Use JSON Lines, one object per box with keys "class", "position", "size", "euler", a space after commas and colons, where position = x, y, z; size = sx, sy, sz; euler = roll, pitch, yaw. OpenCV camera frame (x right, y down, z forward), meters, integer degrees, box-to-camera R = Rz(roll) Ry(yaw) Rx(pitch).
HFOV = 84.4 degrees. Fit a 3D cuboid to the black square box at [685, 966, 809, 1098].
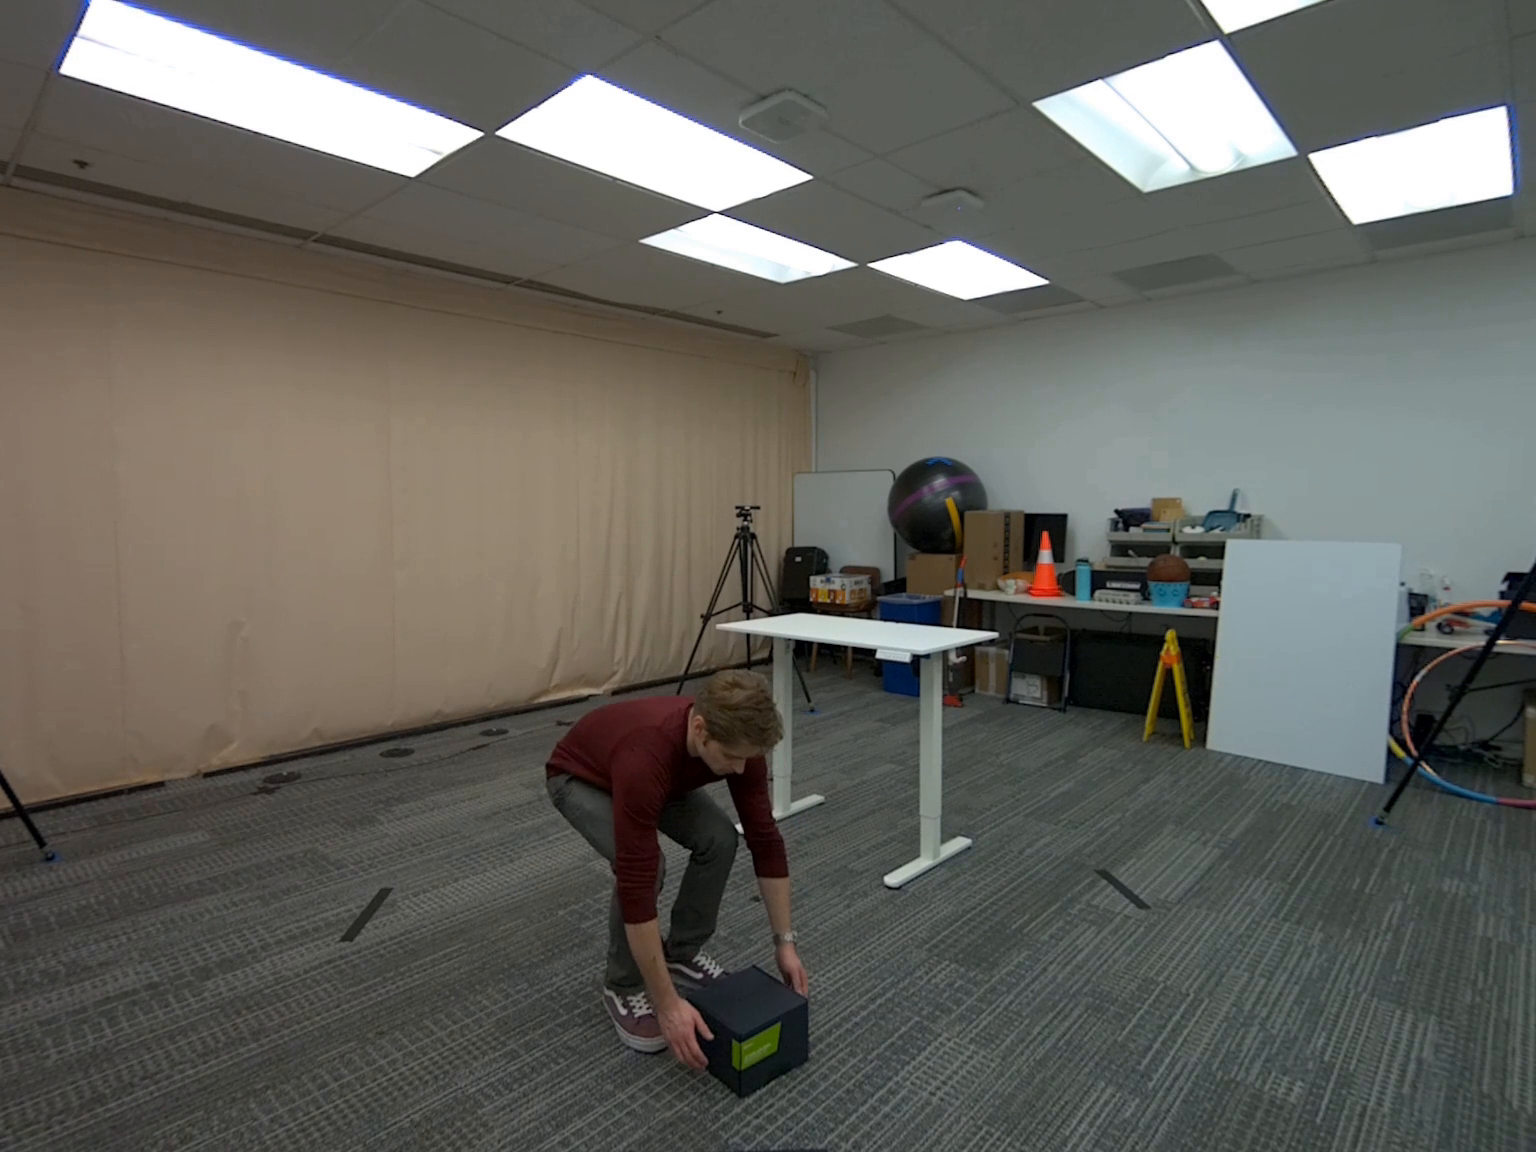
{"class": "black square box", "position": [-0.052, 1.129, 2.124], "size": [0.221, 0.155, 0.224], "euler": [-3, 5, -40]}
